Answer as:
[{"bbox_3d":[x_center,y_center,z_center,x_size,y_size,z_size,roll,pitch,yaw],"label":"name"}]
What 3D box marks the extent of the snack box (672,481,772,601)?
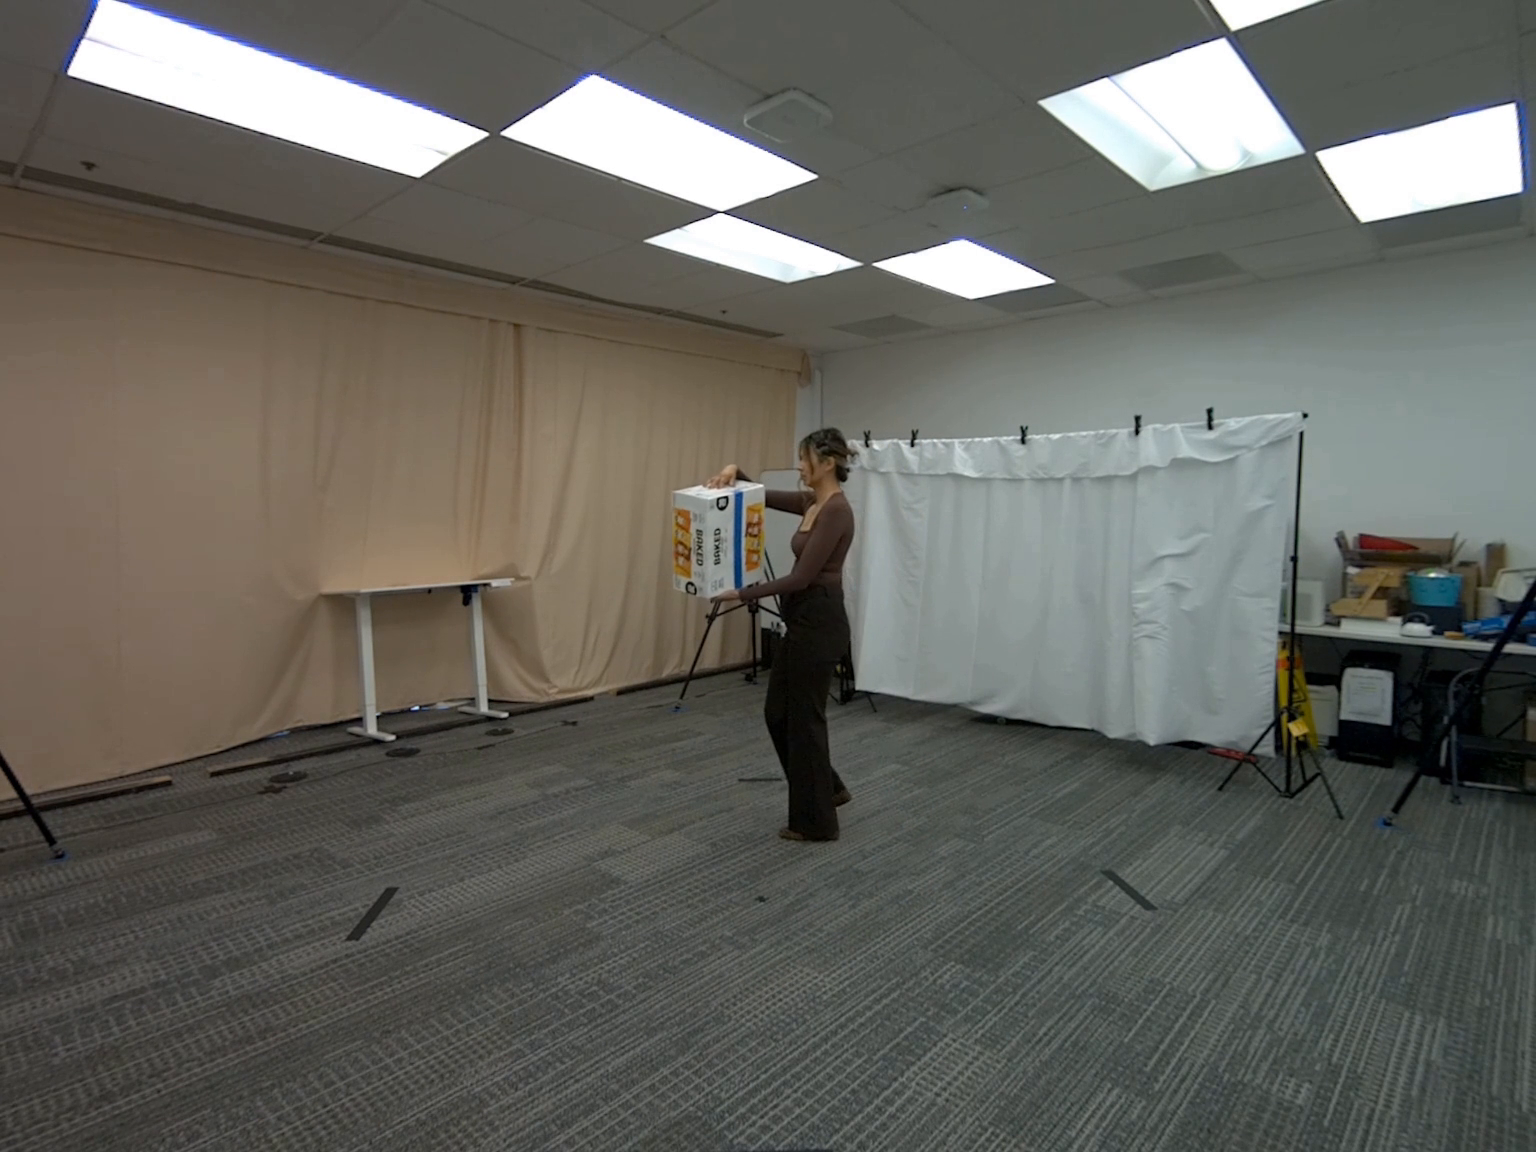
[{"bbox_3d":[-0.194,-0.154,3.419,0.213,0.401,0.332,14,21,39],"label":"snack box"}]
